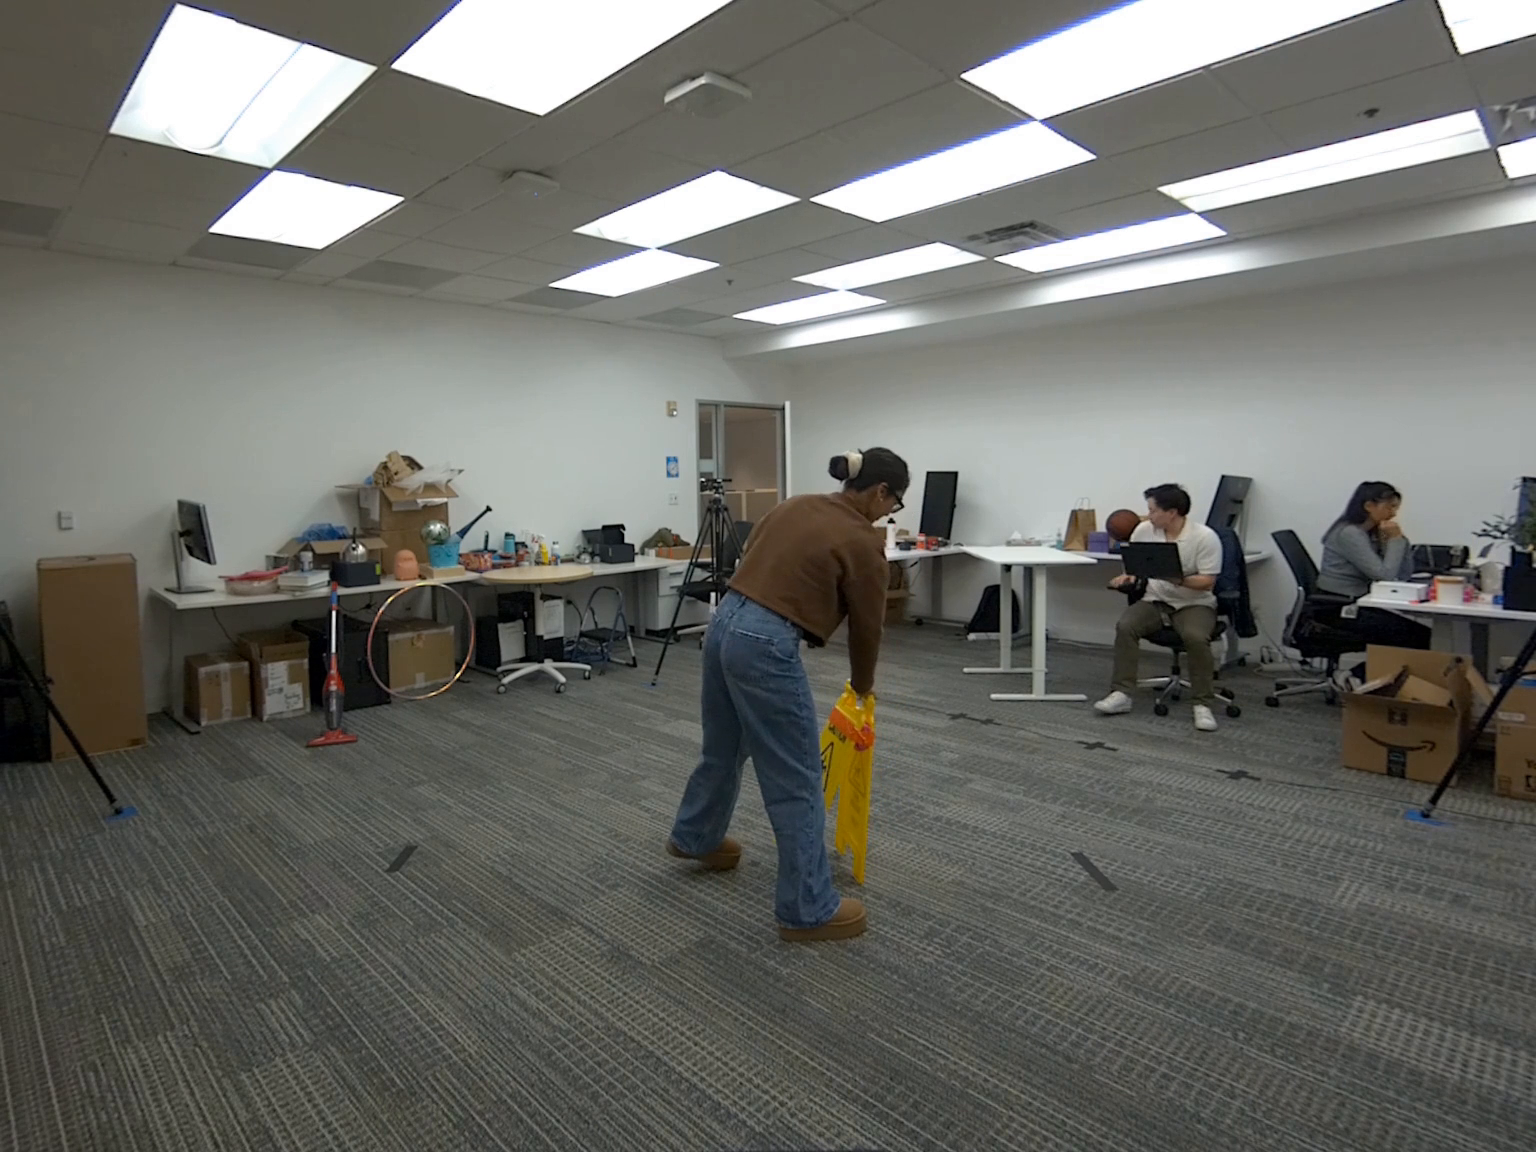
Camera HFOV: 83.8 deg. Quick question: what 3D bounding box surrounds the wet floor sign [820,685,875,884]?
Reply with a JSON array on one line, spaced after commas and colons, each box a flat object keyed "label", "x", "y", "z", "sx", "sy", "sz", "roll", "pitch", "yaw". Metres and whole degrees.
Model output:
[{"label": "wet floor sign", "x": 0.253, "y": 0.701, "z": 3.006, "sx": 0.285, "sy": 0.644, "sz": 0.288, "roll": 12, "pitch": 4, "yaw": -17}]
